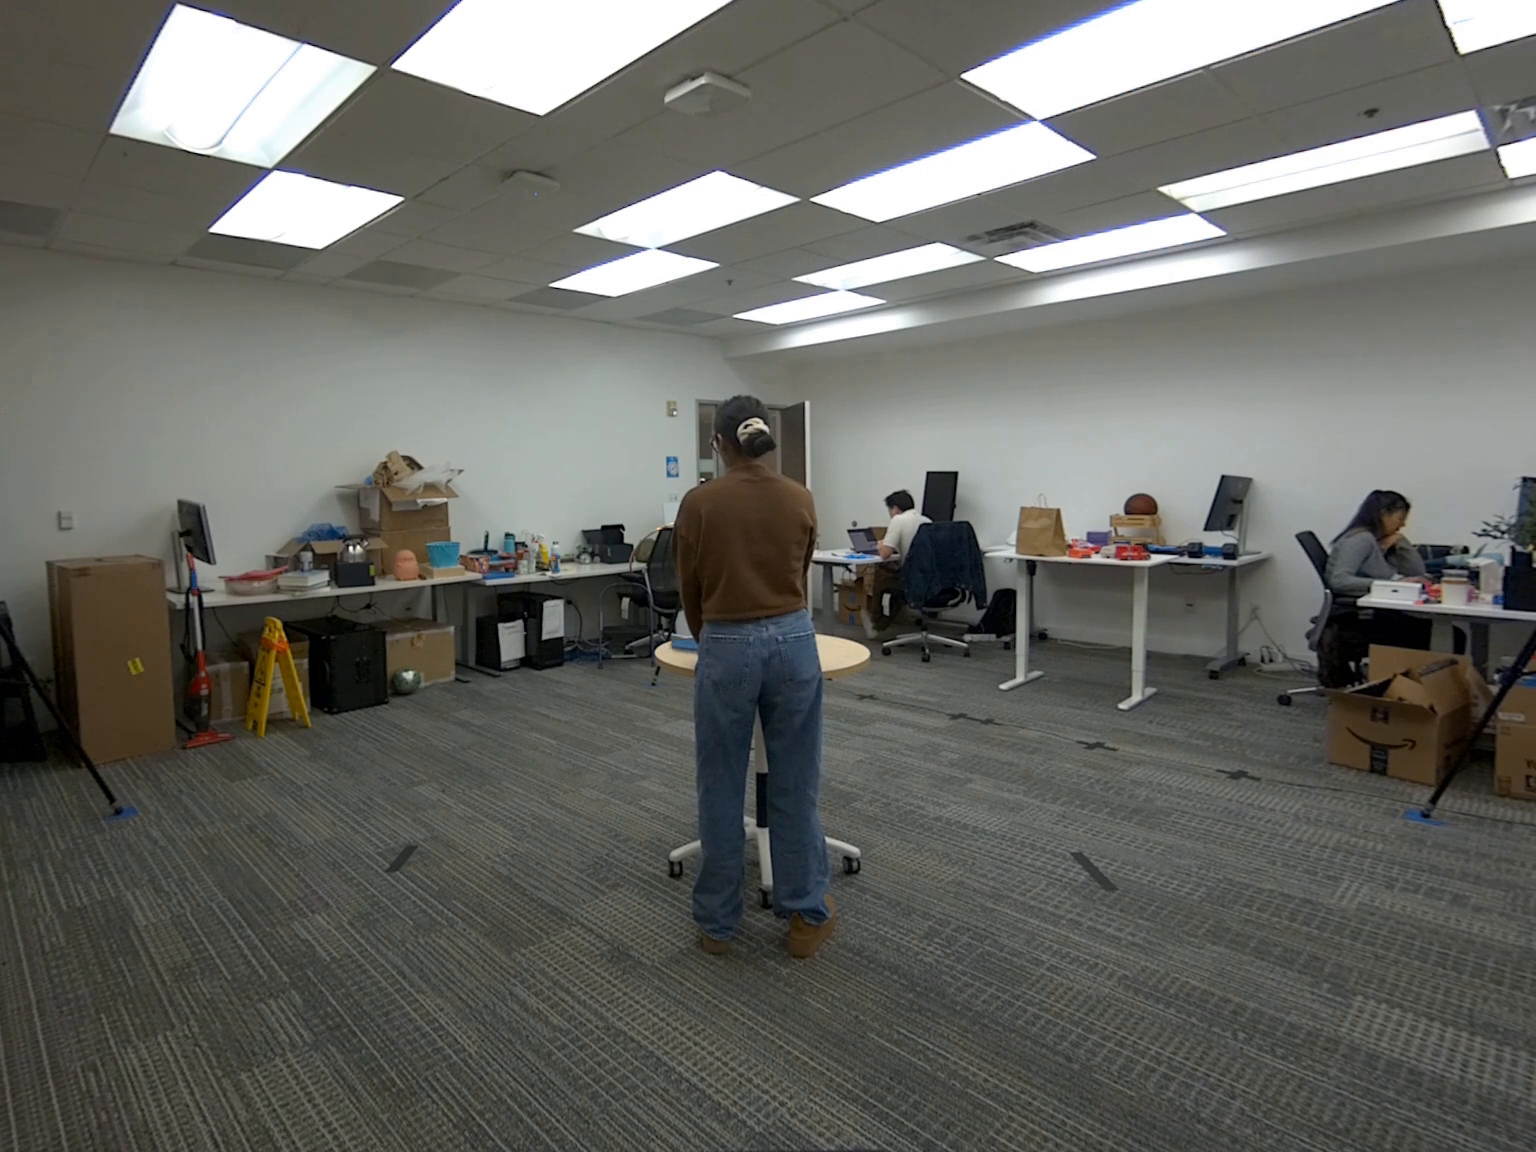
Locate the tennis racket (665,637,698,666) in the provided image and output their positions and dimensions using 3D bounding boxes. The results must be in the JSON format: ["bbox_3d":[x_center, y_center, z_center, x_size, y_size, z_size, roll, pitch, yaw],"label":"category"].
[{"bbox_3d":[-0.213,0.262,3.046,0.210,0.032,0.441,0,3,-19],"label":"tennis racket"}]
